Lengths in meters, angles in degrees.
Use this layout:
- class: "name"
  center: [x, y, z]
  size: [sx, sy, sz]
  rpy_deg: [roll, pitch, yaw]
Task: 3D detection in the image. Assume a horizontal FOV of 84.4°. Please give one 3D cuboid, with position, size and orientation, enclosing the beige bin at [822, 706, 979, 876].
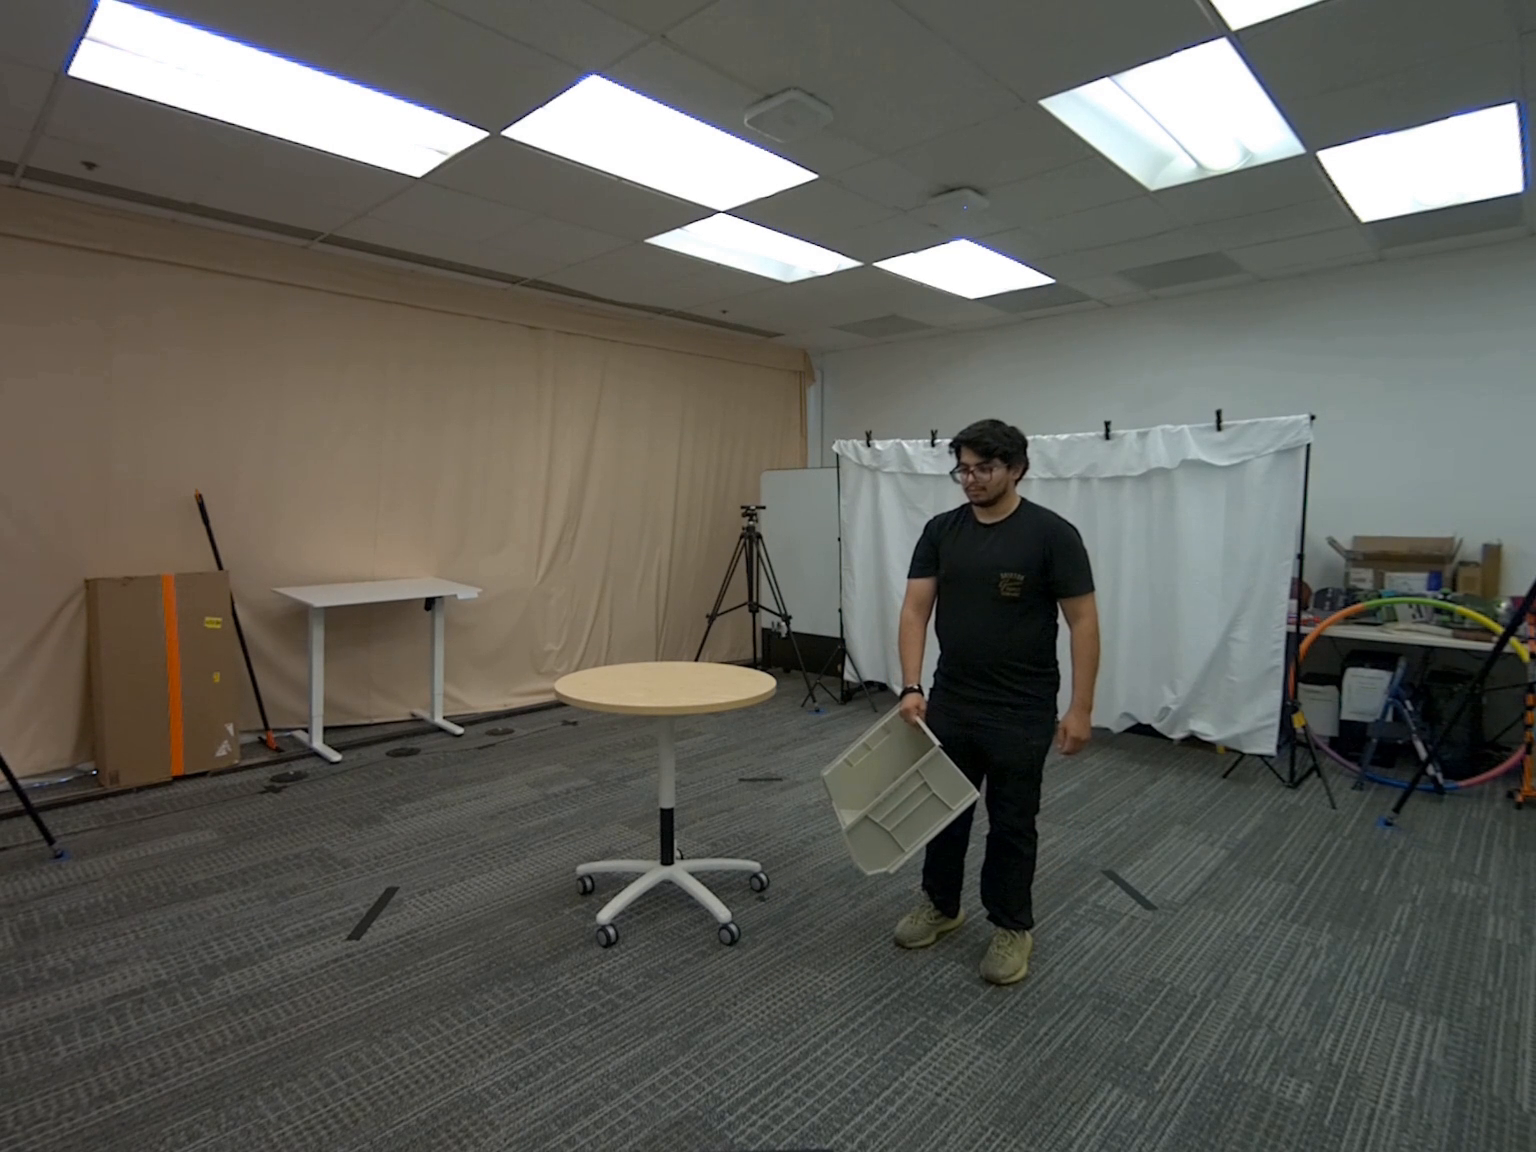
- class: "beige bin"
  center: [0.367, 0.595, 2.383]
  size: [0.377, 0.188, 0.424]
  rpy_deg: [-42, 5, 1]
